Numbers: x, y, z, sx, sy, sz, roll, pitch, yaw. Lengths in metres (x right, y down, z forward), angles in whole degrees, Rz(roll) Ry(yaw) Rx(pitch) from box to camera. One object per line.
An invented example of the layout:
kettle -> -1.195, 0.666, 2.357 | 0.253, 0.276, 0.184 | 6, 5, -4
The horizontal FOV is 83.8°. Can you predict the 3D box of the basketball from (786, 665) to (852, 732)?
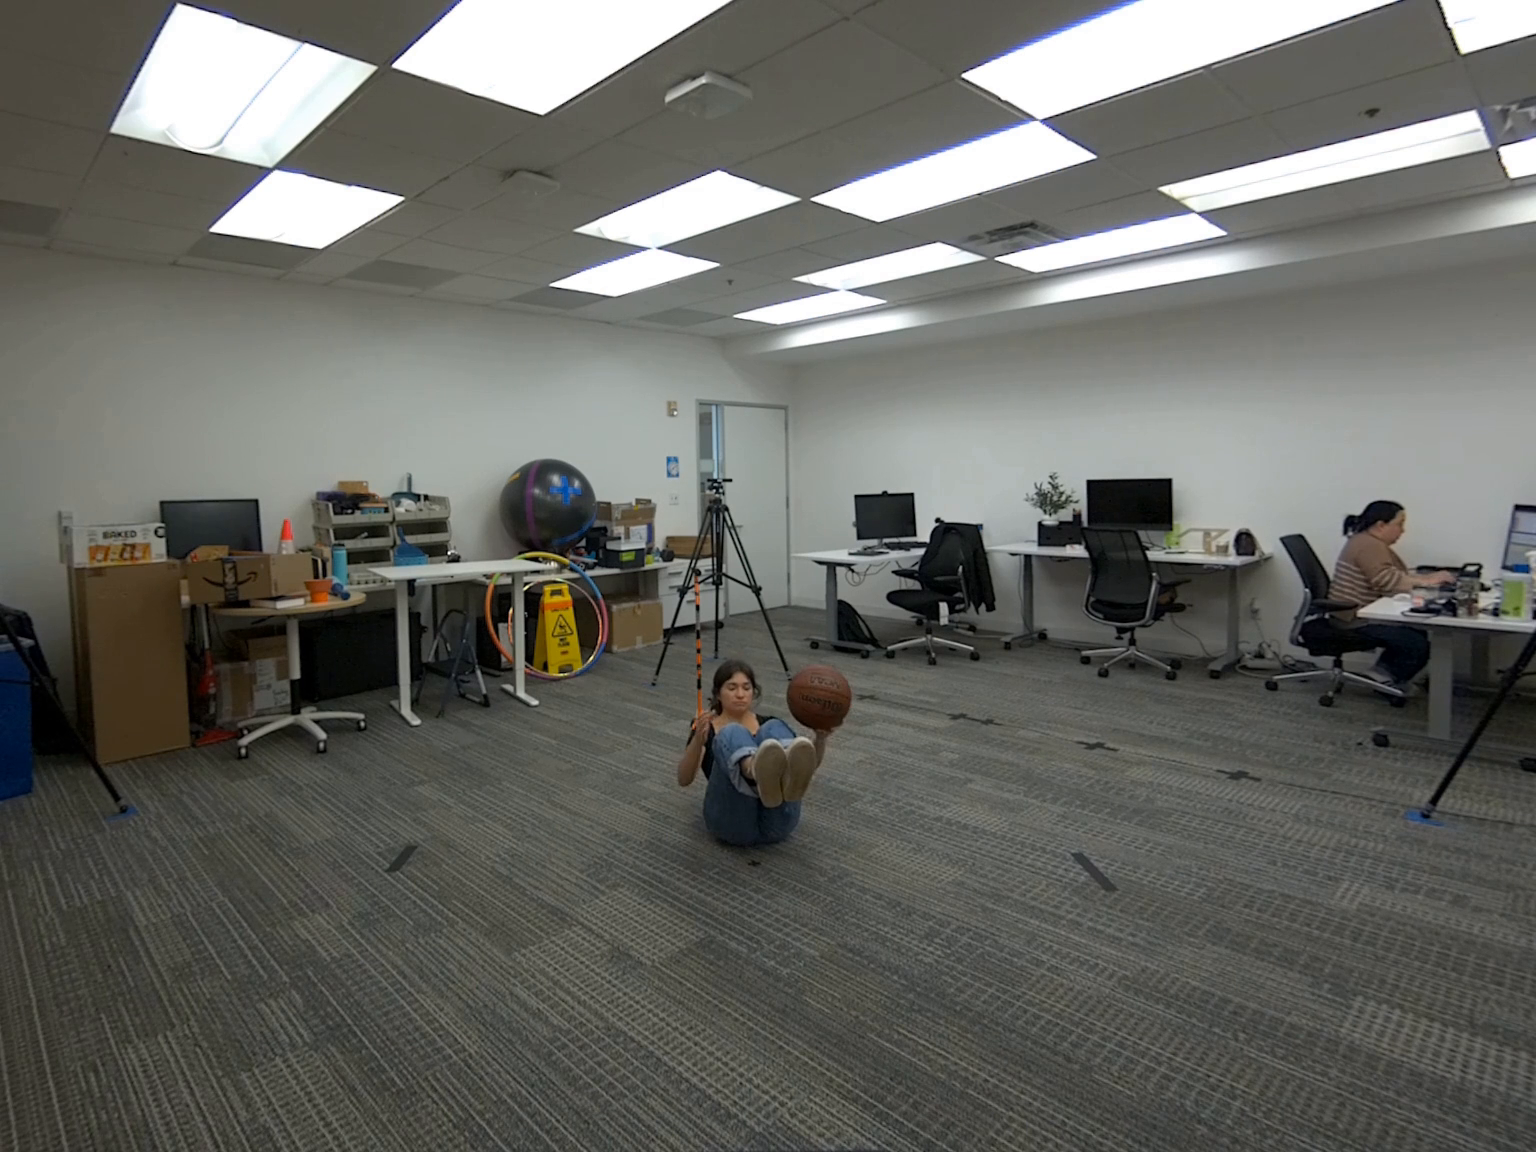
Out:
basketball -> 0.174, 0.460, 3.157 | 0.236, 0.235, 0.237 | -1, 5, -2
